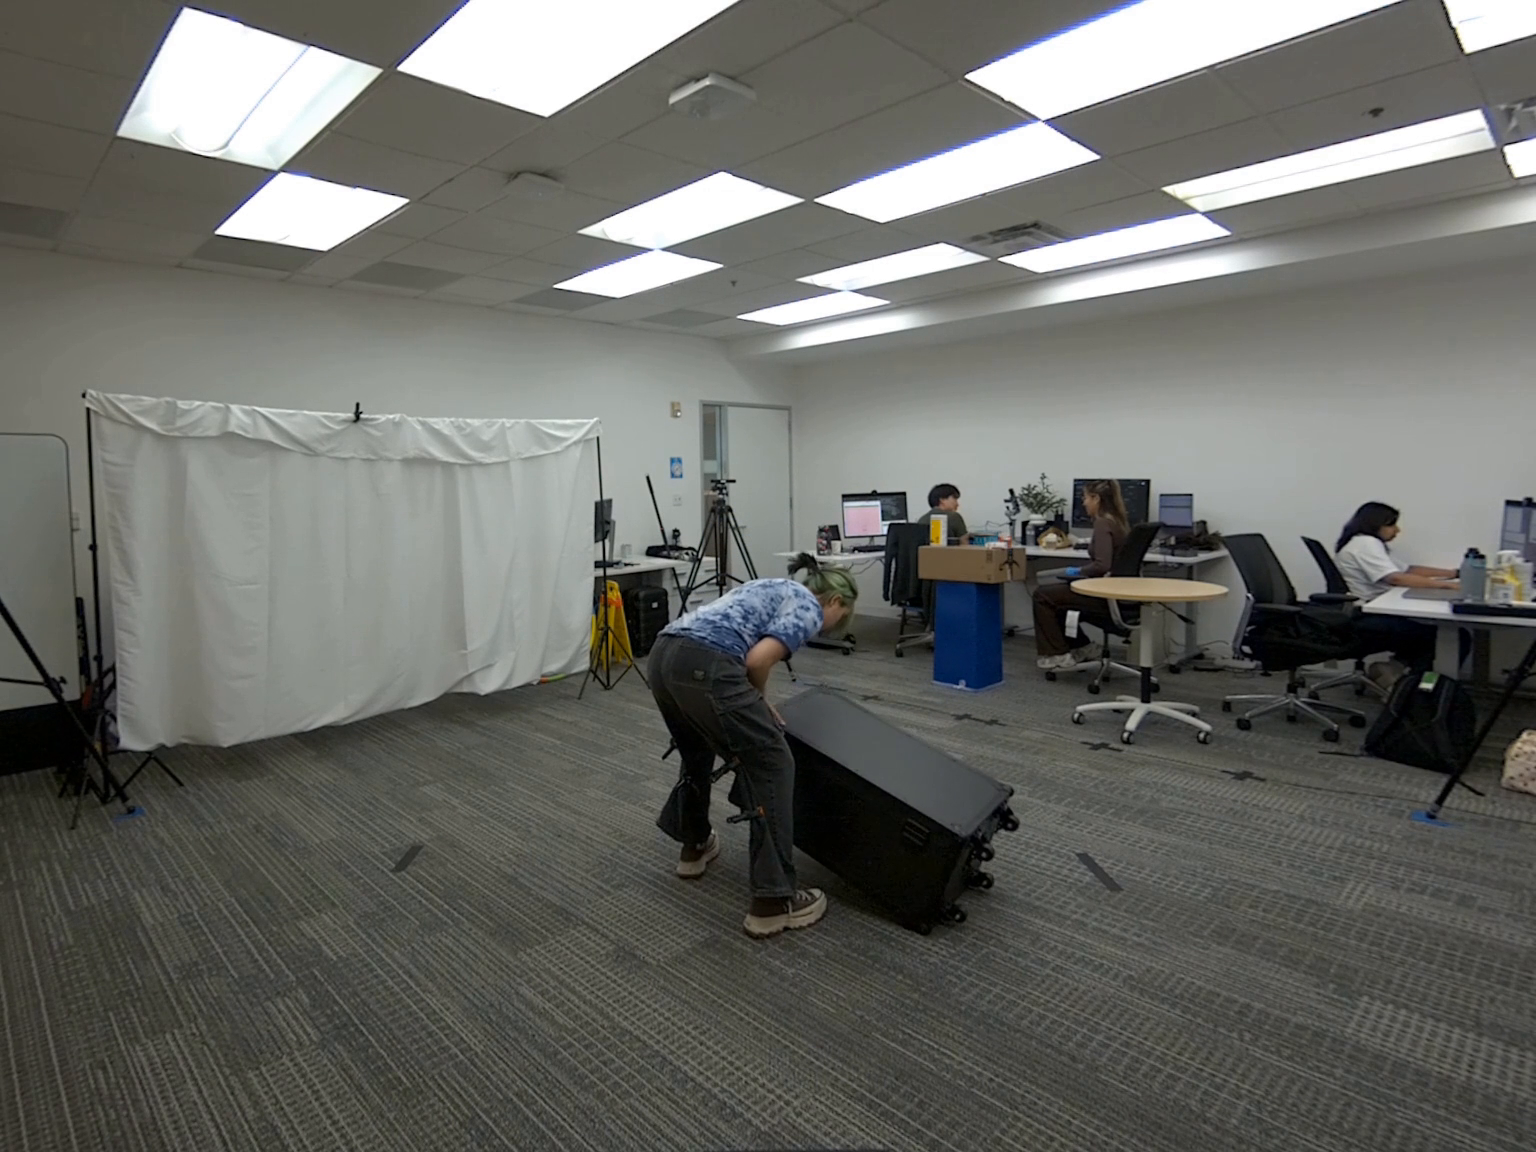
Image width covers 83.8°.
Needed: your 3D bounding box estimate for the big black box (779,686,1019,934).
[{"bbox_3d":[0.371,0.775,2.932,0.891,0.392,0.509,25,19,31],"label":"big black box"}]
